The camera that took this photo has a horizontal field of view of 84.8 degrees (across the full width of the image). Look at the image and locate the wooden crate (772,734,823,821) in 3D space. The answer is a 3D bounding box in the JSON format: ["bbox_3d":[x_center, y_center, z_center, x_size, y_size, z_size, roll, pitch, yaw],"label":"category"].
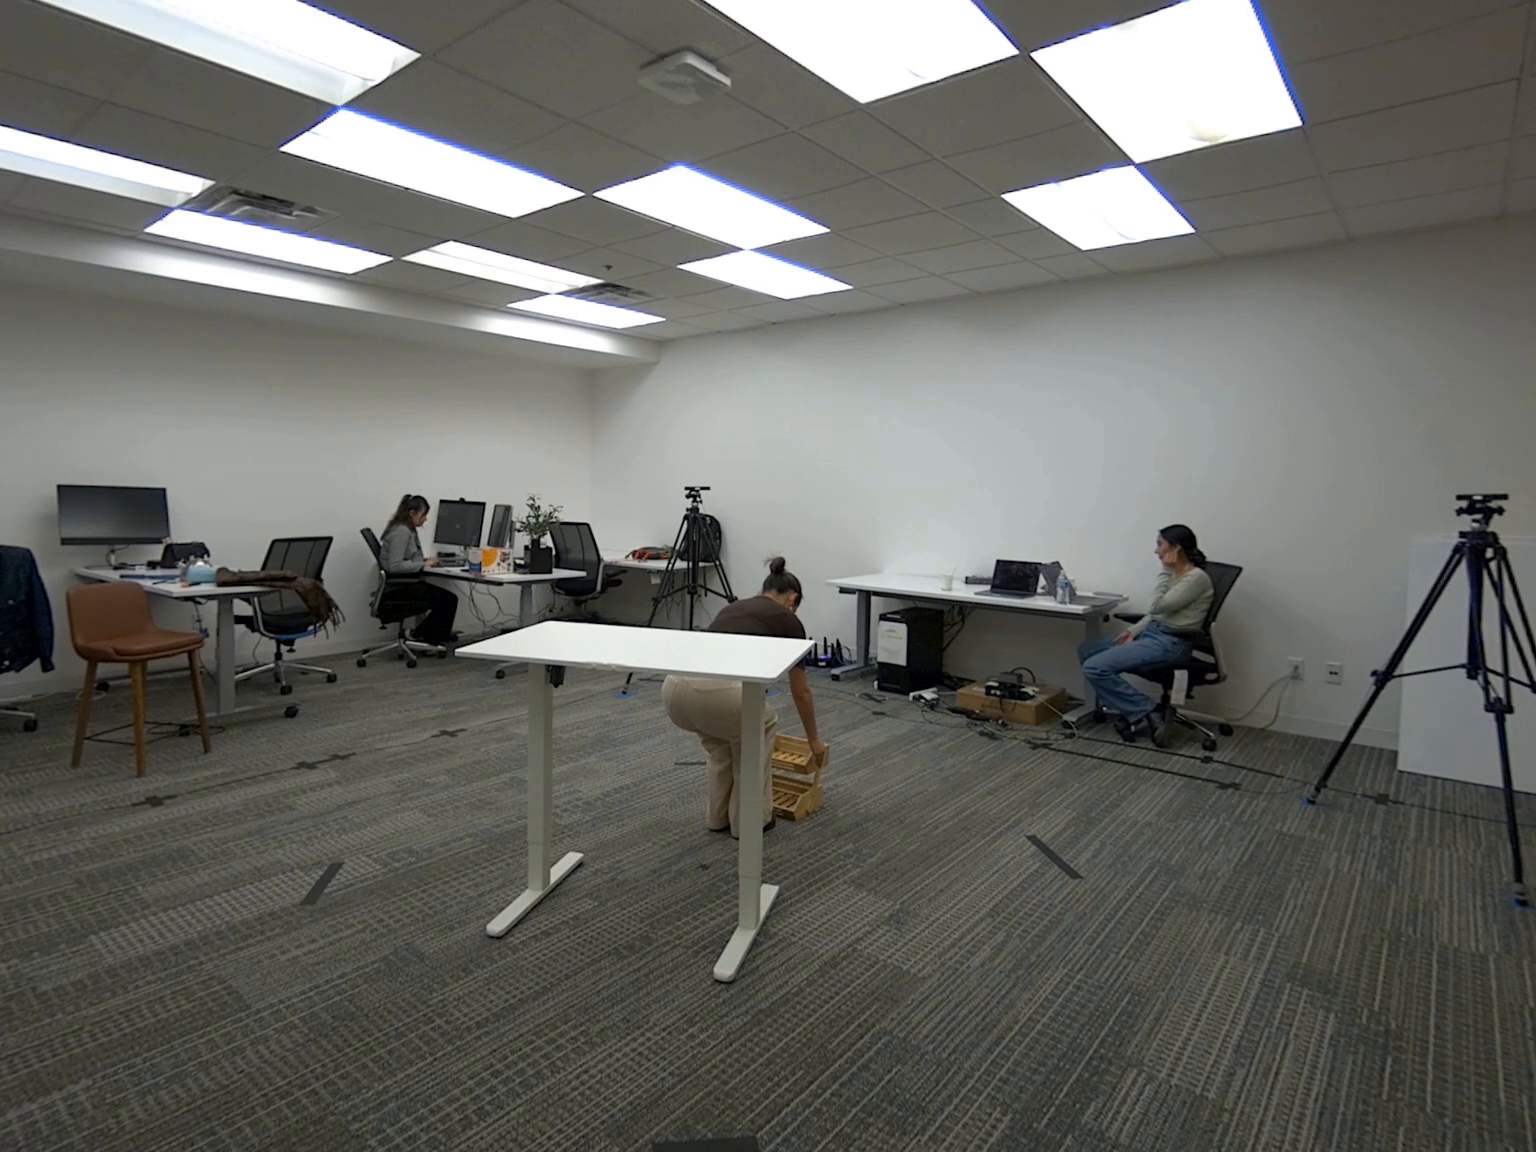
[{"bbox_3d":[0.050,0.864,3.744,0.334,0.272,0.293,4,4,33],"label":"wooden crate"}]
